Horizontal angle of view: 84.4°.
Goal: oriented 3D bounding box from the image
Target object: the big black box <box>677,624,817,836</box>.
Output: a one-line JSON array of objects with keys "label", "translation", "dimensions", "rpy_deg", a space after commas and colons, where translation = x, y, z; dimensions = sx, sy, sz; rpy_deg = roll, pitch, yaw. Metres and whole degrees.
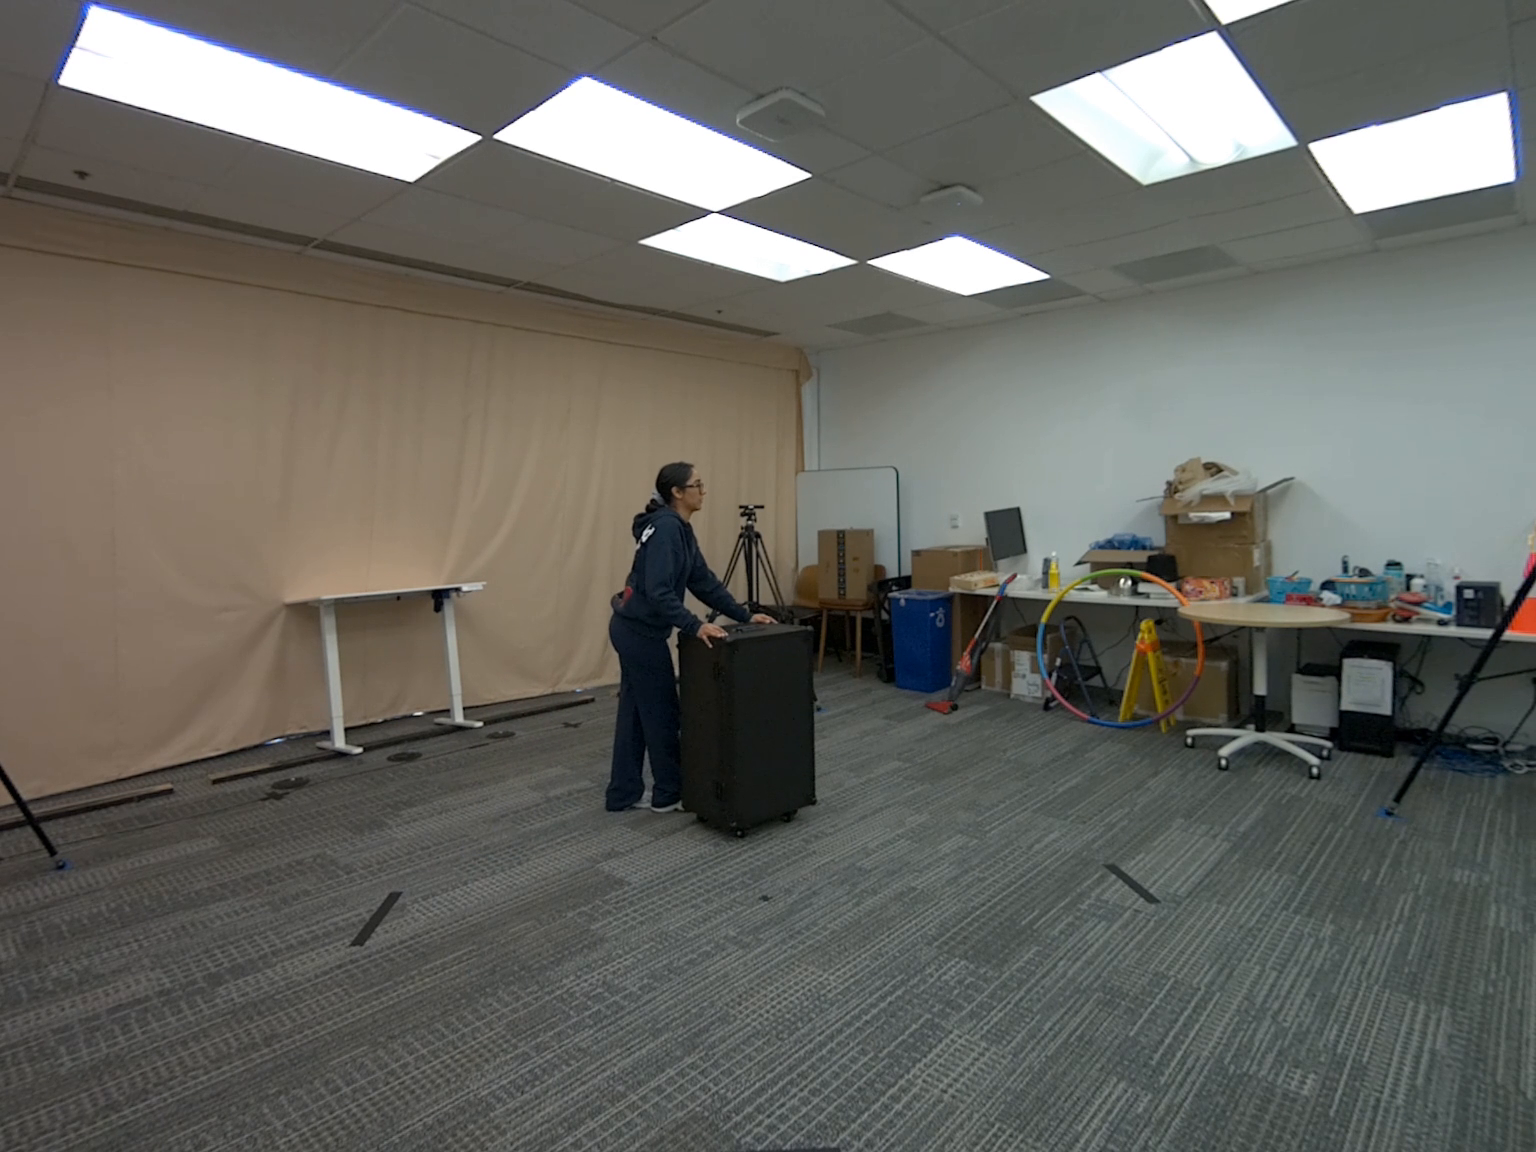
[{"label": "big black box", "translation": [-0.095, 0.660, 3.700], "dimensions": [0.506, 0.860, 0.409], "rpy_deg": [-4, 3, -39]}]
